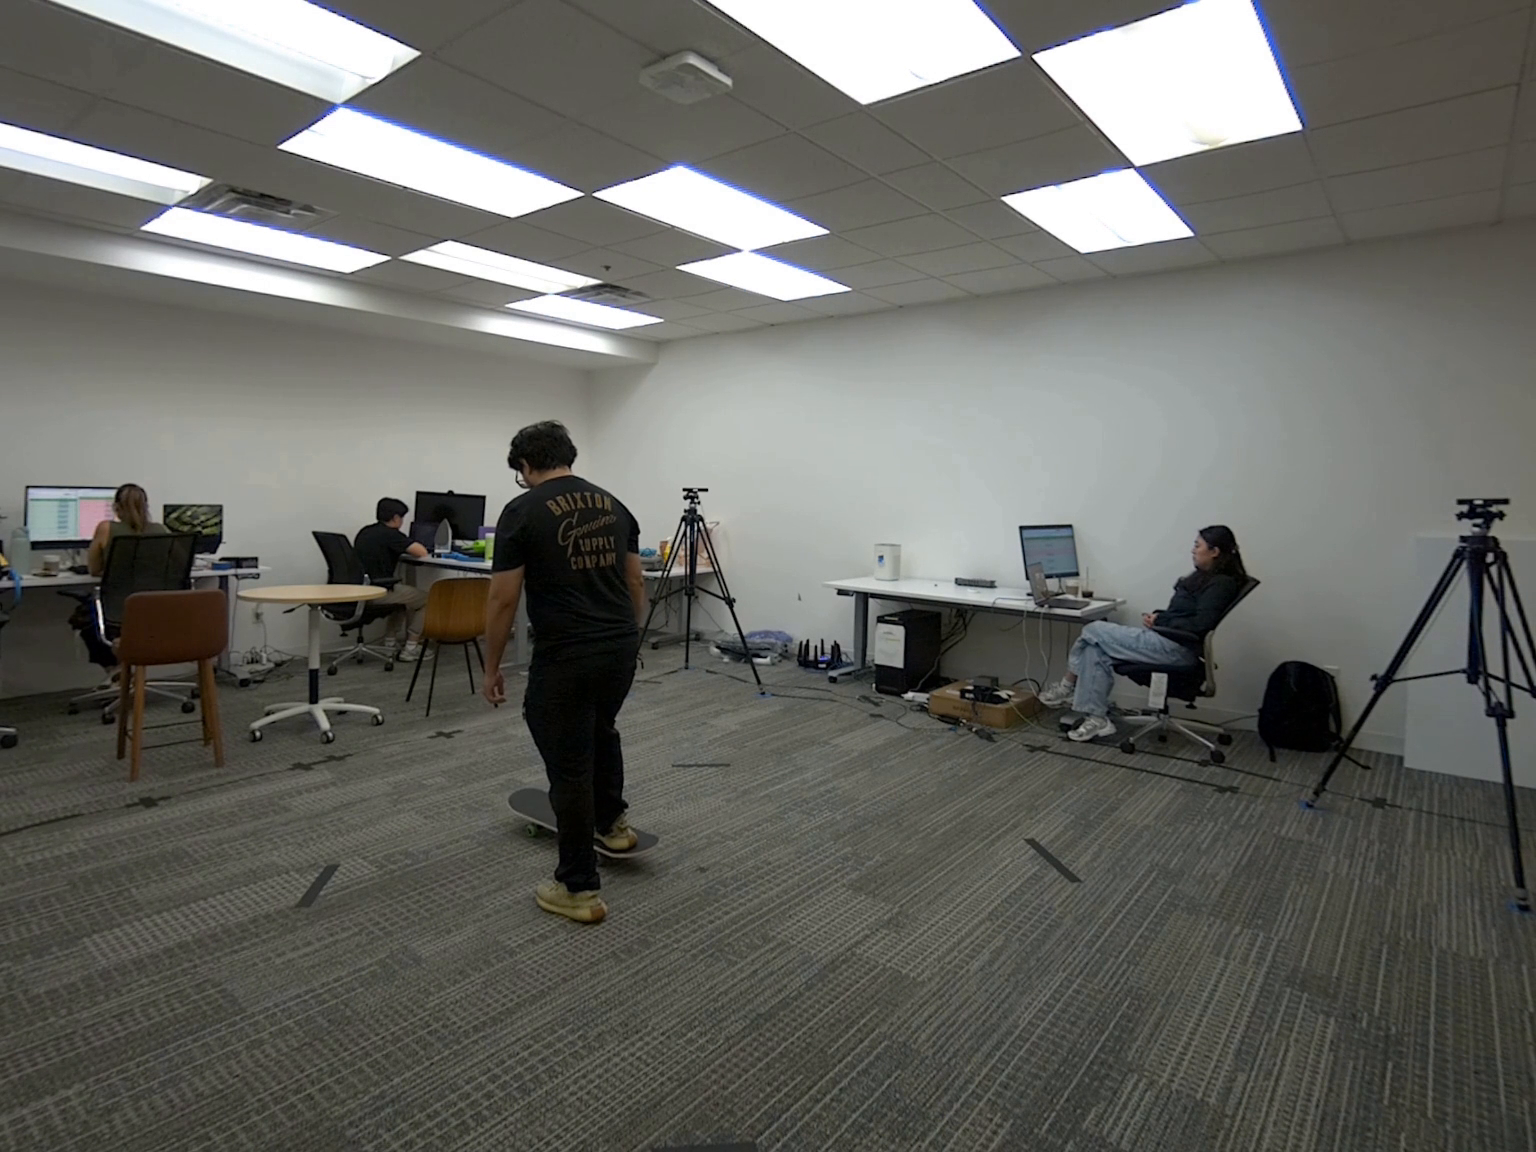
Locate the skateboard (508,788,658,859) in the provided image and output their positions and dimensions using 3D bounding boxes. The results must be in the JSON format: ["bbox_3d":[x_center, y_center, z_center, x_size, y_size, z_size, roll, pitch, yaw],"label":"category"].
[{"bbox_3d":[-0.750,0.986,3.298,0.812,0.109,0.188,7,13,38],"label":"skateboard"}]
